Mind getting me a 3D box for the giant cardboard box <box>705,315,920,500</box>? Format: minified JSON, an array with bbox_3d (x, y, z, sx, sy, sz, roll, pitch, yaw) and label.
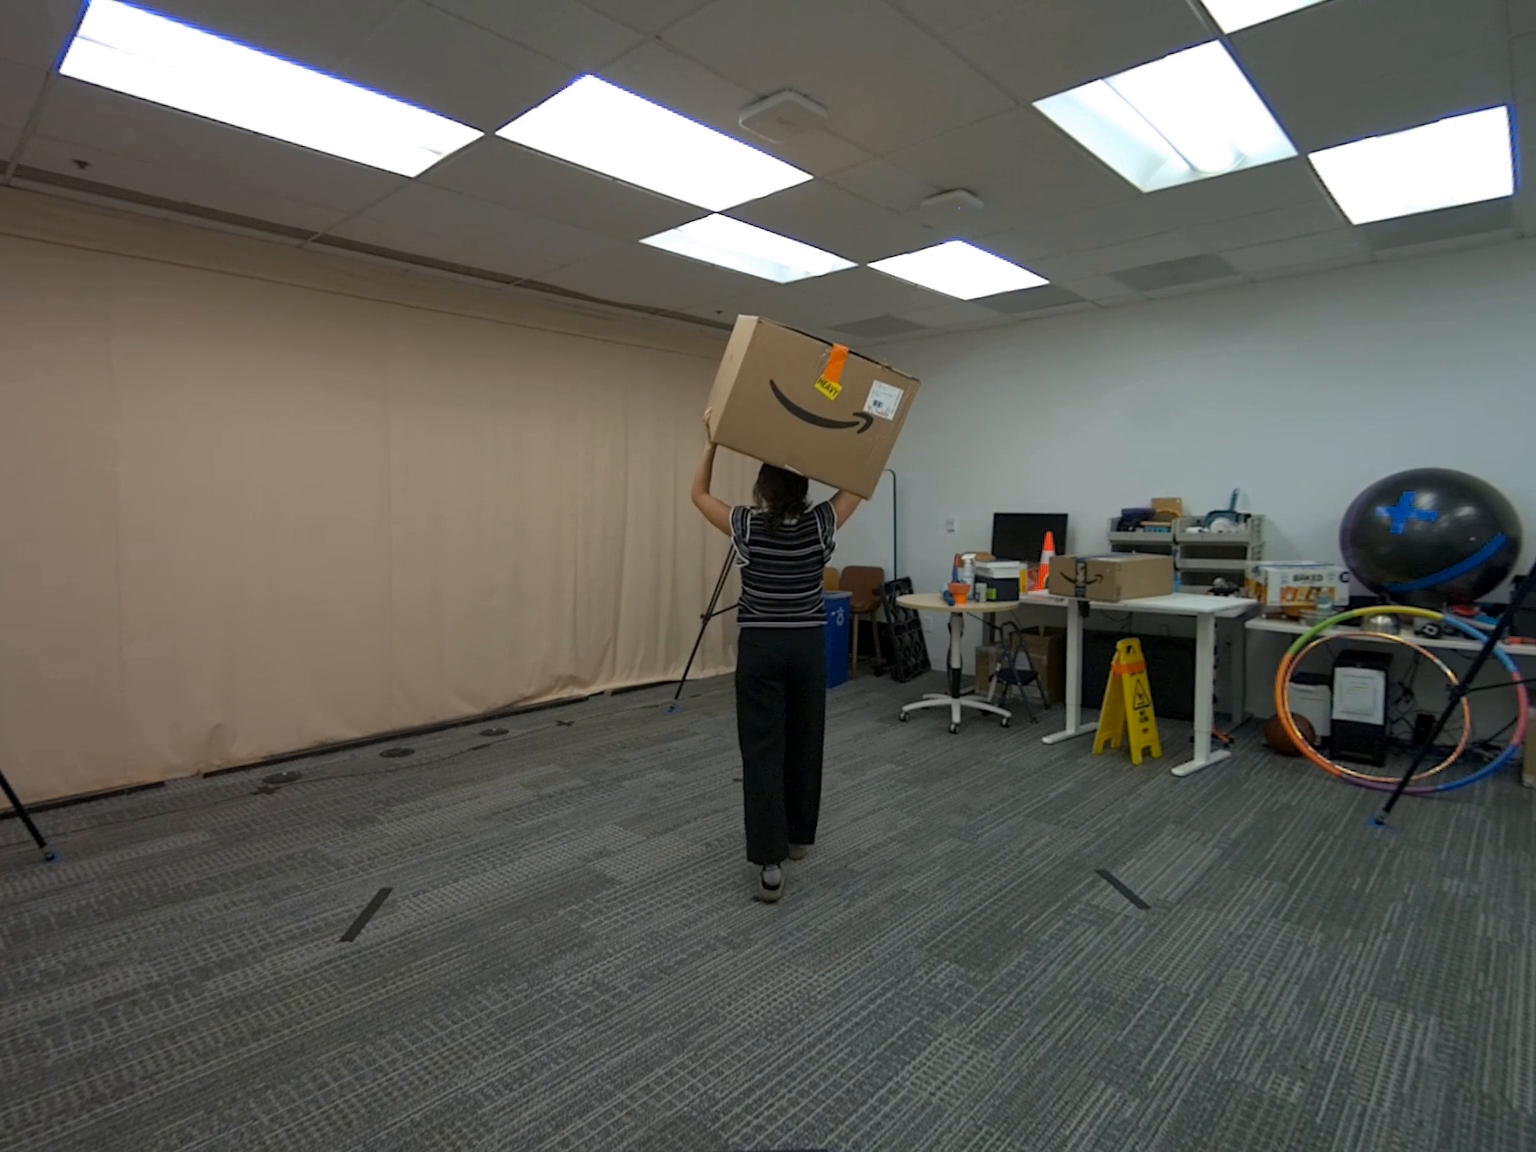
[{"bbox_3d":[0.117,-0.686,3.223,0.571,0.425,1.040,18,15,-10],"label":"giant cardboard box"}]
